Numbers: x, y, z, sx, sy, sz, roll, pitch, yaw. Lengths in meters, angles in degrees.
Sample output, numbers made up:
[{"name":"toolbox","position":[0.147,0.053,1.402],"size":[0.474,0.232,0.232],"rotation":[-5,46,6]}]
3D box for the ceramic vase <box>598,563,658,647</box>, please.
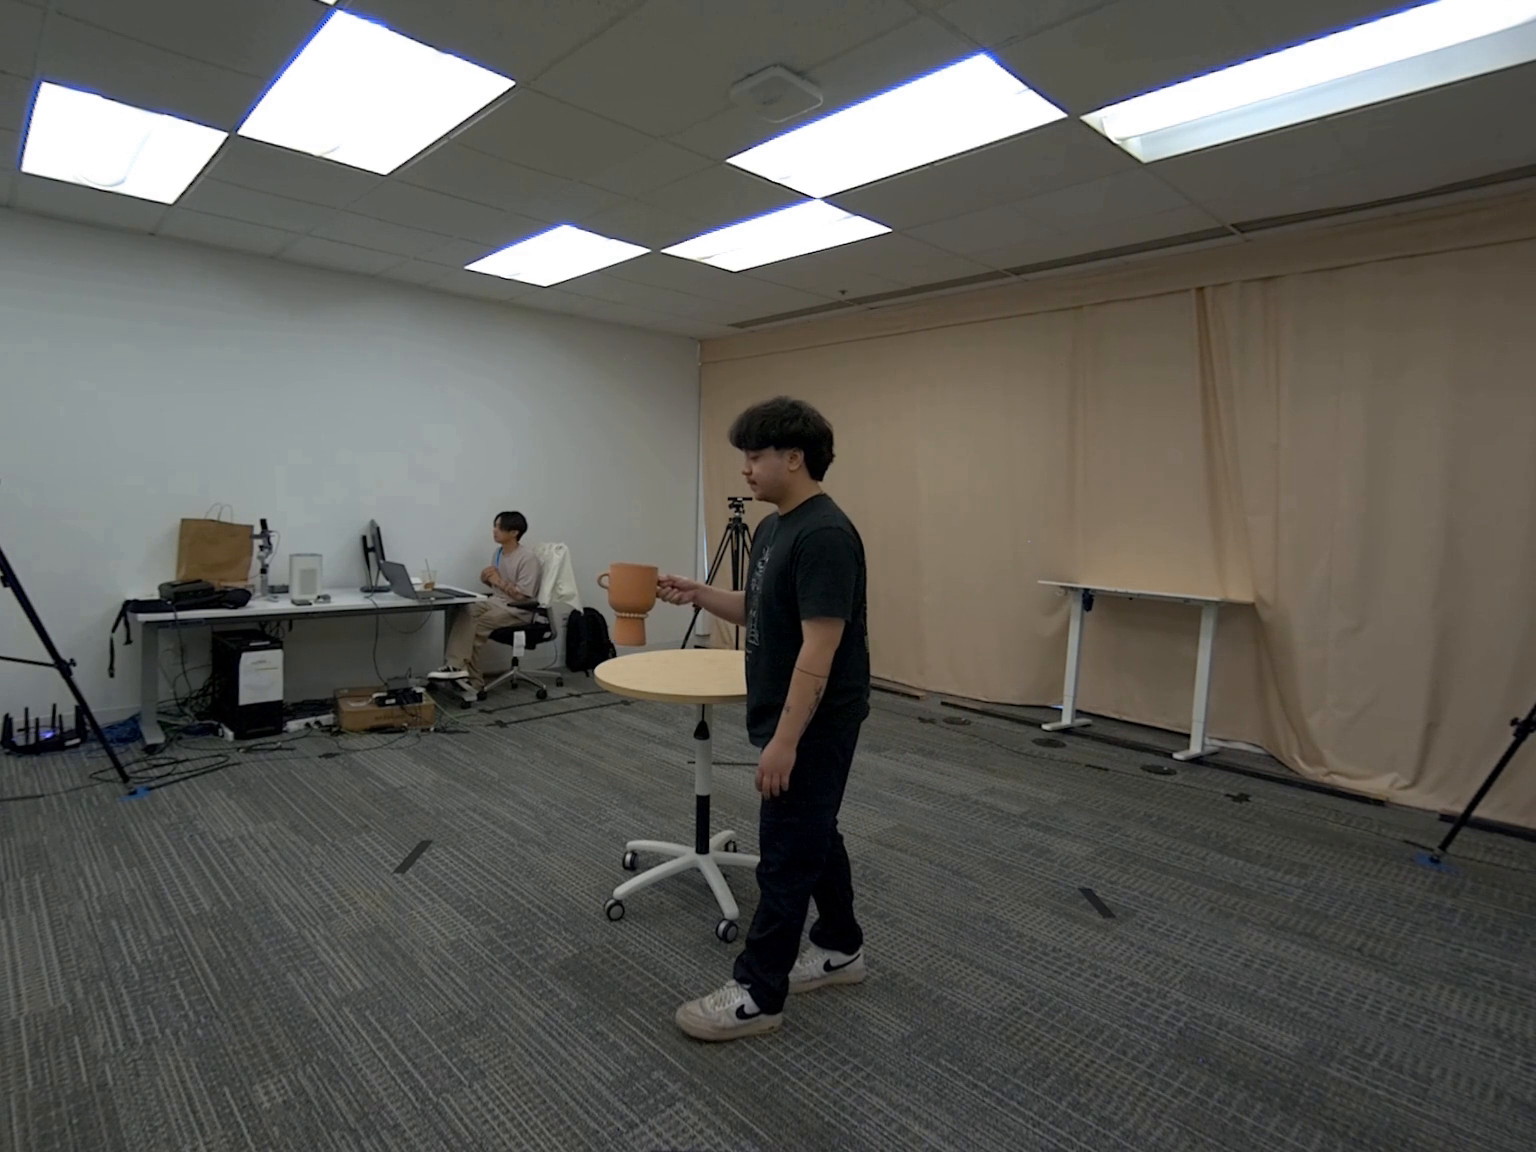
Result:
[{"name":"ceramic vase","position":[-0.377,0.080,2.332],"size":[0.162,0.220,0.132],"rotation":[4,-1,24]}]
